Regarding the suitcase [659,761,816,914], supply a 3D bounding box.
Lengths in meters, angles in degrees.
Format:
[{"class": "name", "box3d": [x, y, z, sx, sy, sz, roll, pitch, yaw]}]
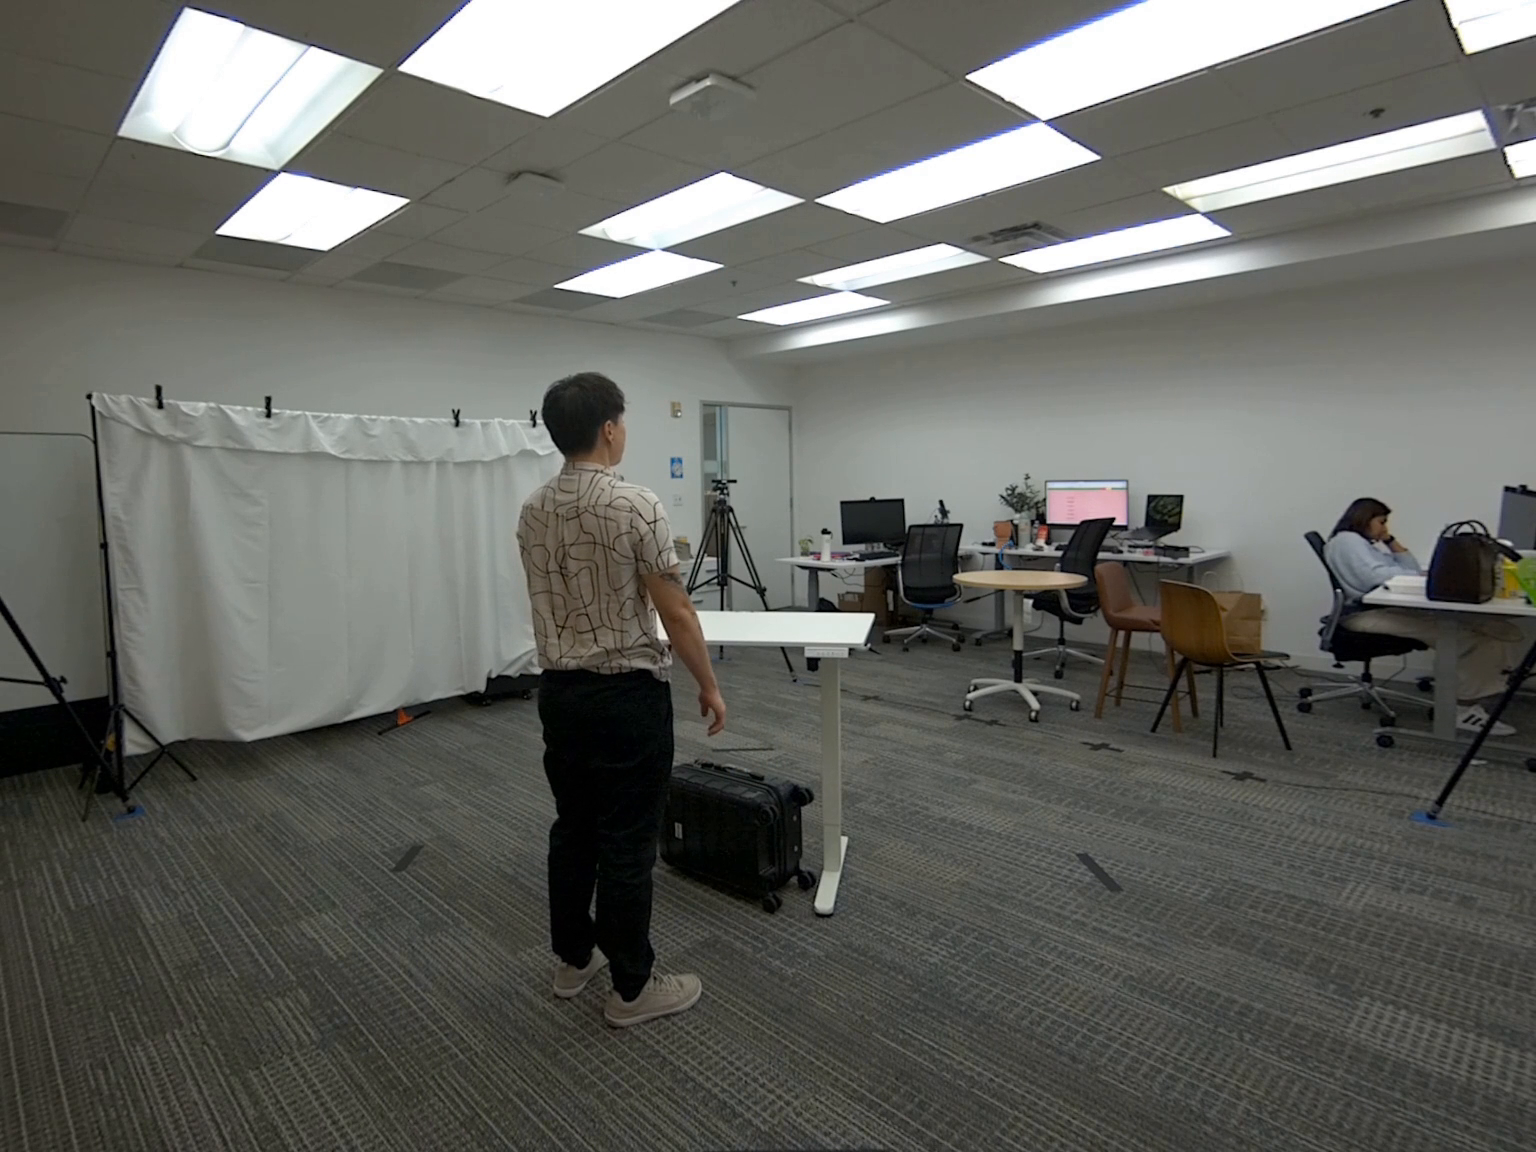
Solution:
[{"class": "suitcase", "box3d": [-0.131, 0.864, 2.992, 0.566, 0.374, 0.242, 4, 6, 39]}]
